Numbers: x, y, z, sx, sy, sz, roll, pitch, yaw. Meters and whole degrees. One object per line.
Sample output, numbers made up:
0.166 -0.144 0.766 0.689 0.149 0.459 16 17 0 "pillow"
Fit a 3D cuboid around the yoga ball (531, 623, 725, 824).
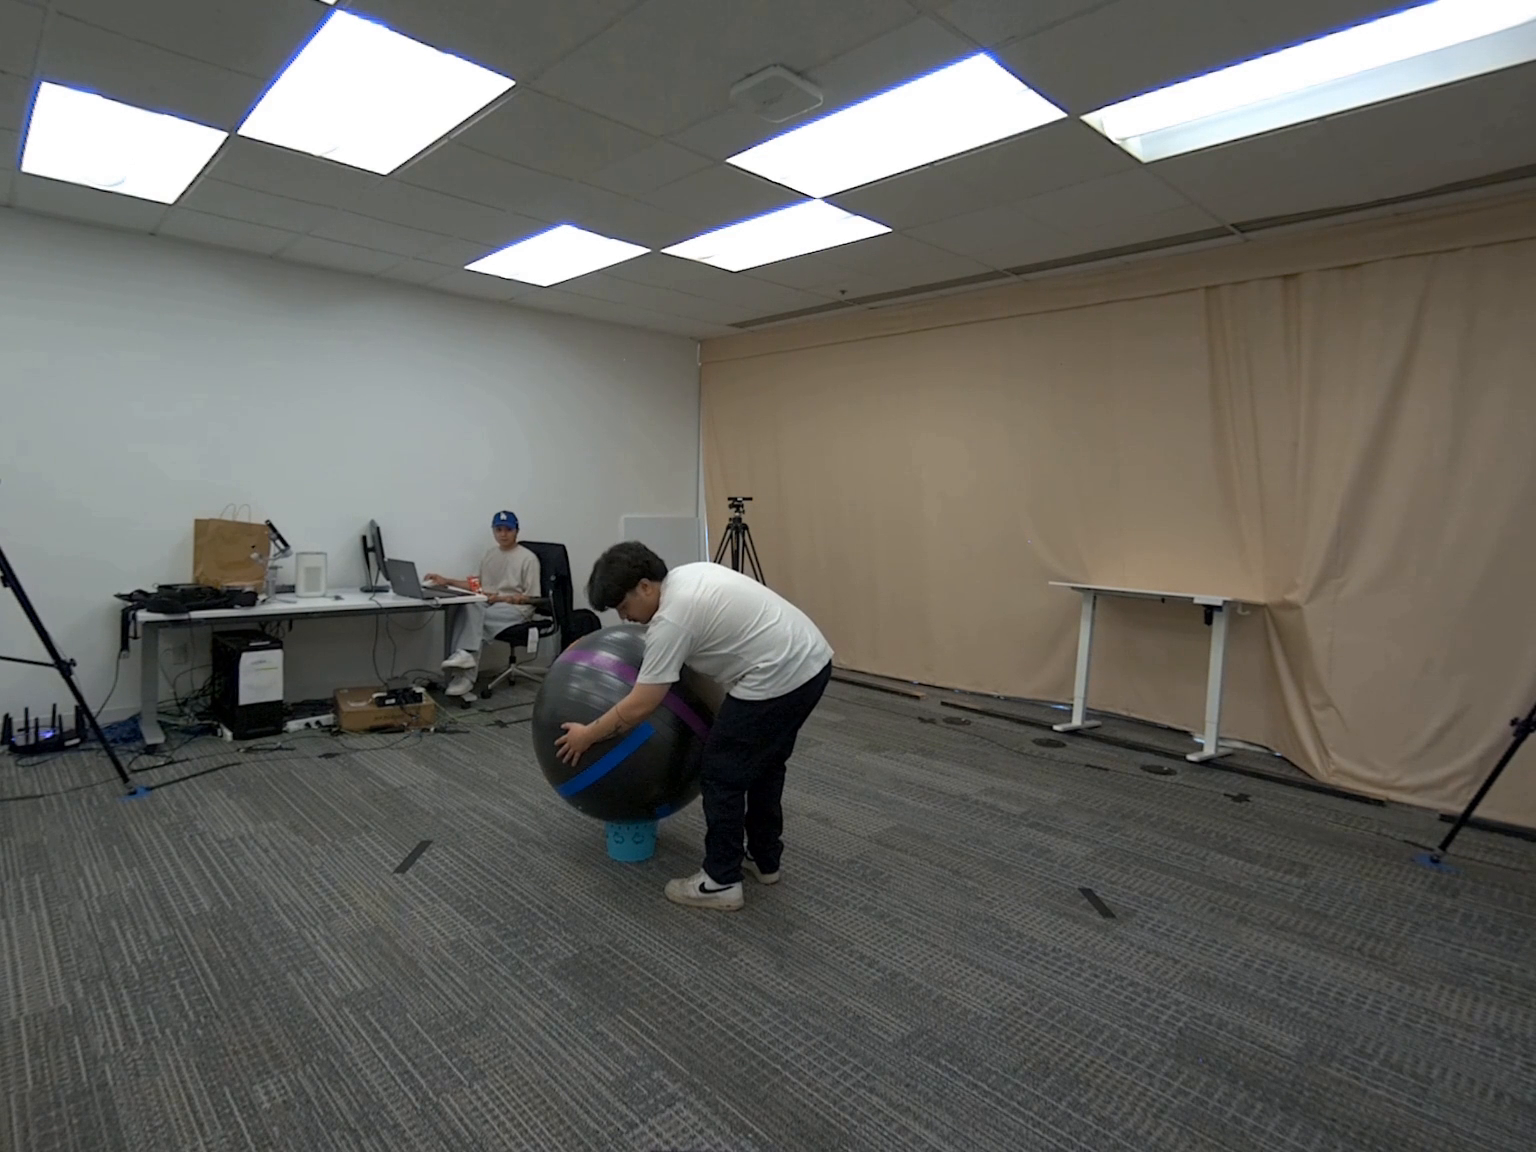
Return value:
-0.542 0.576 3.297 0.757 0.756 0.760 1 4 -1 "yoga ball"
